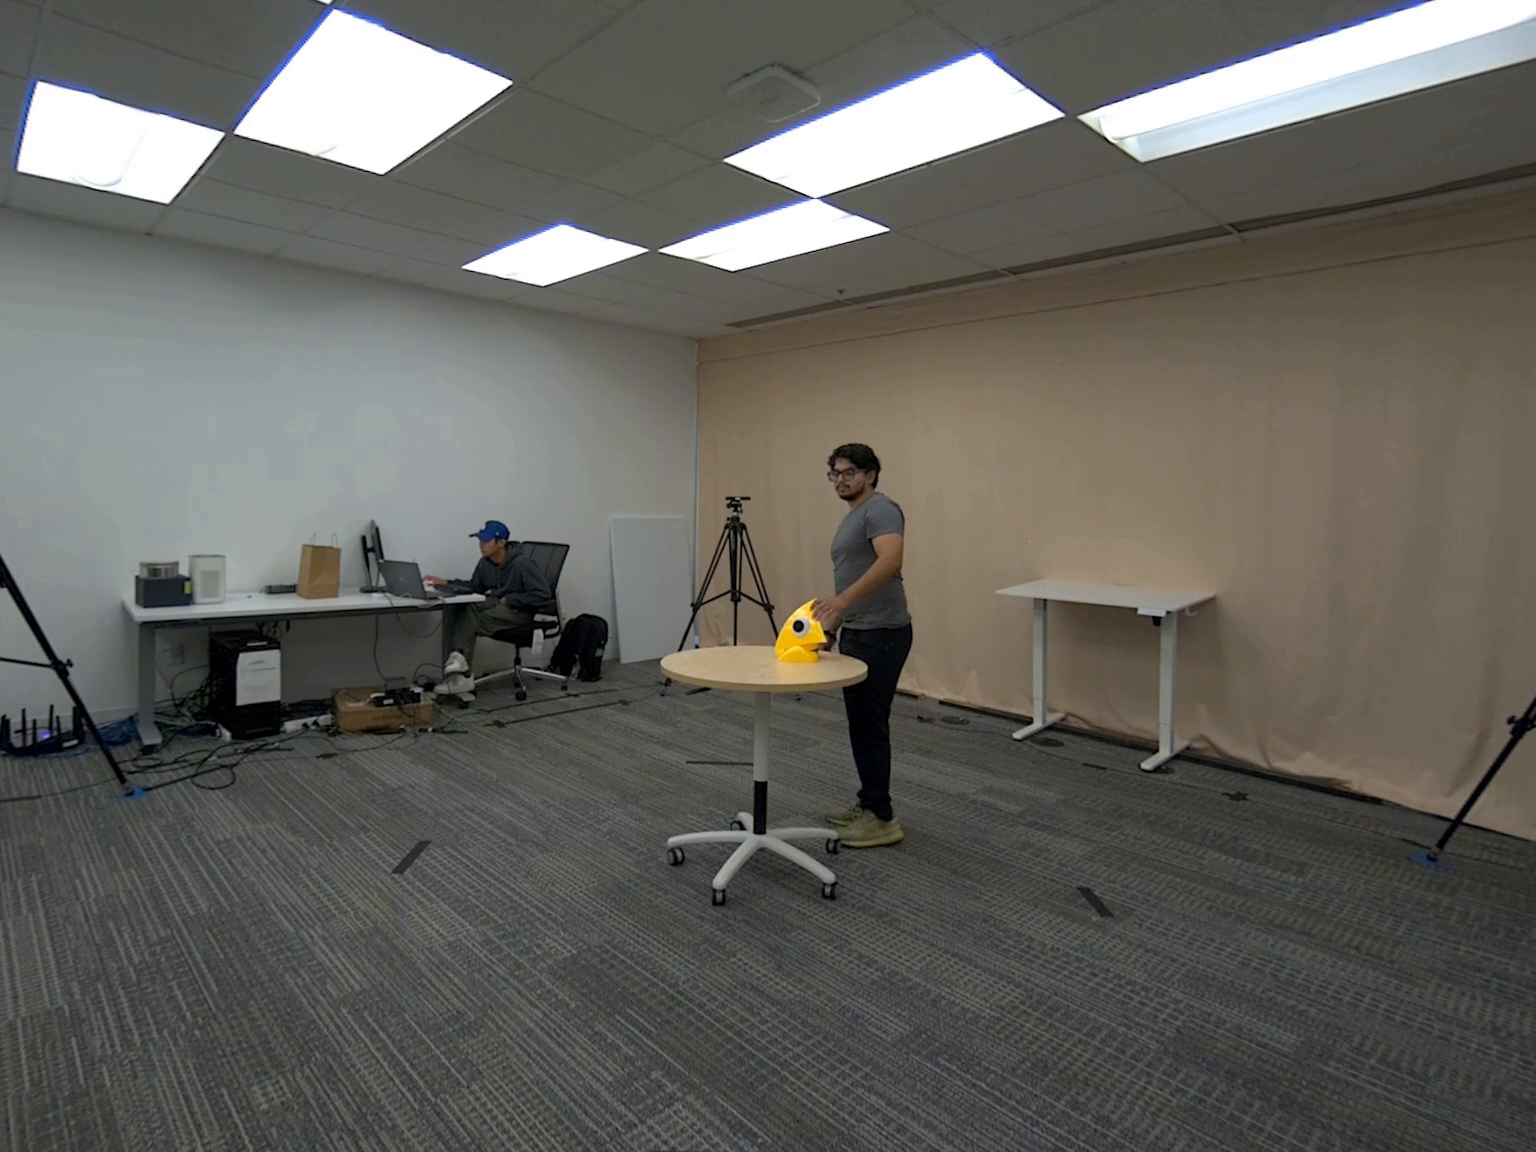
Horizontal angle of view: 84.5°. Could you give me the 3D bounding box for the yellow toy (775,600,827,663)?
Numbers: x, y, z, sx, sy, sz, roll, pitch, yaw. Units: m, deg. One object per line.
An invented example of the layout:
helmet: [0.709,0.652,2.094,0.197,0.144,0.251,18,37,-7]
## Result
yellow toy: [0.121,0.201,3.244,0.193,0.230,0.206,3,4,-2]
